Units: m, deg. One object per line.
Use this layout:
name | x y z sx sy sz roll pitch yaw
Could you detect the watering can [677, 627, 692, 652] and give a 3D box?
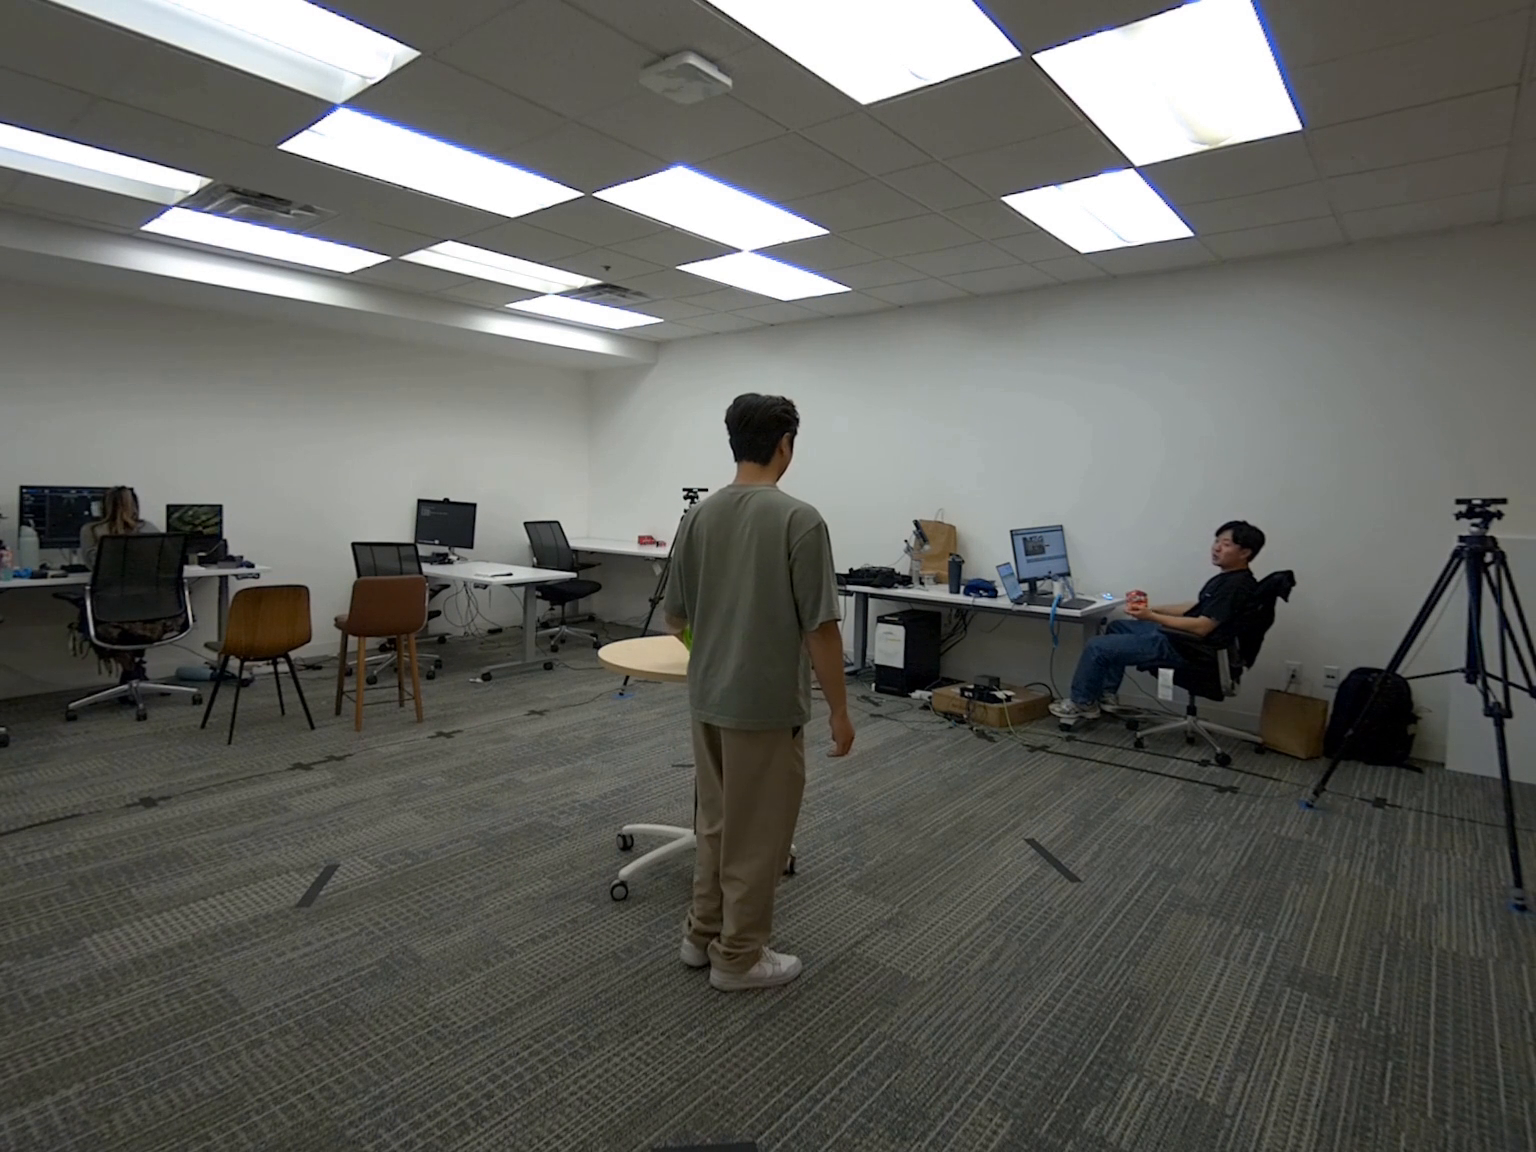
watering can | -0.173 0.210 2.832 0.271 0.176 0.101 -4 5 -28
